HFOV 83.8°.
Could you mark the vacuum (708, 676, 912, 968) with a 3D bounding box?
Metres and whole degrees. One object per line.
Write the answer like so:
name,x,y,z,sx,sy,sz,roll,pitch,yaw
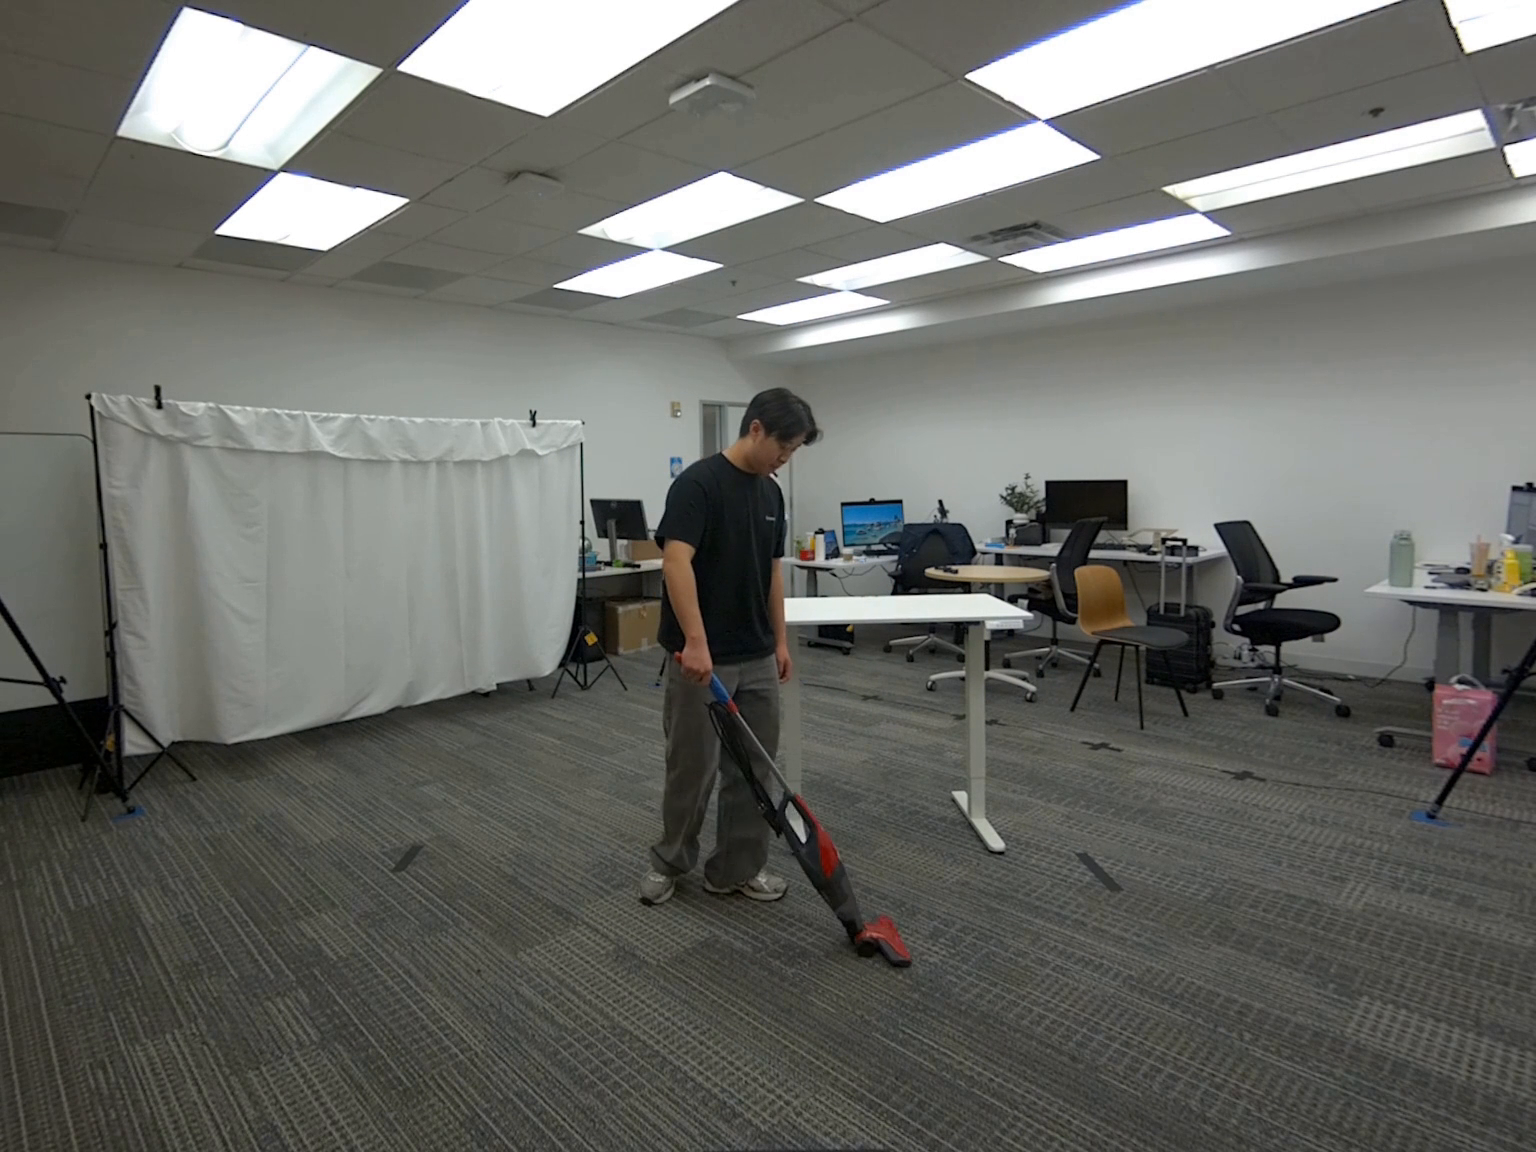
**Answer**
vacuum,0.046,0.682,2.511,0.144,1.042,0.254,-36,5,-5
